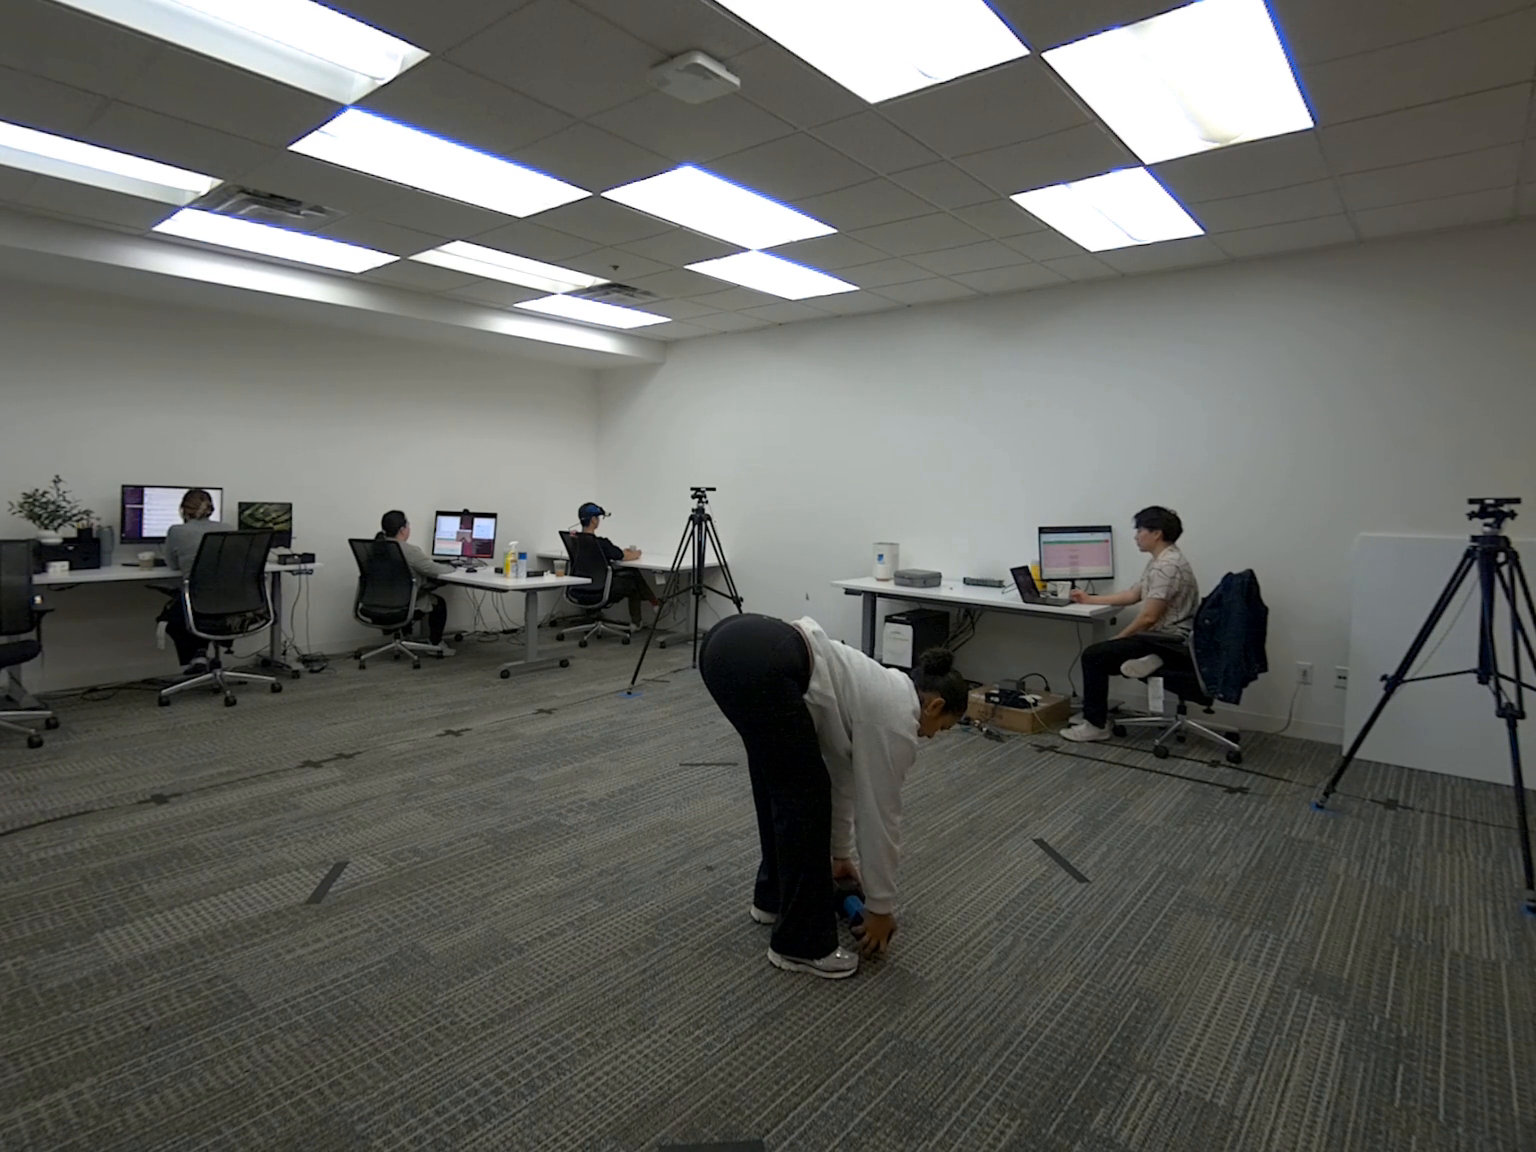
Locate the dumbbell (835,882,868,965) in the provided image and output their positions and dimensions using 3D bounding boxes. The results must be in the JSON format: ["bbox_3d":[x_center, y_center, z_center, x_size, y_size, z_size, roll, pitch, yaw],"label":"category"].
[{"bbox_3d":[0.233,1.064,2.639,0.108,0.121,0.299,-33,12,-12],"label":"dumbbell"}]
